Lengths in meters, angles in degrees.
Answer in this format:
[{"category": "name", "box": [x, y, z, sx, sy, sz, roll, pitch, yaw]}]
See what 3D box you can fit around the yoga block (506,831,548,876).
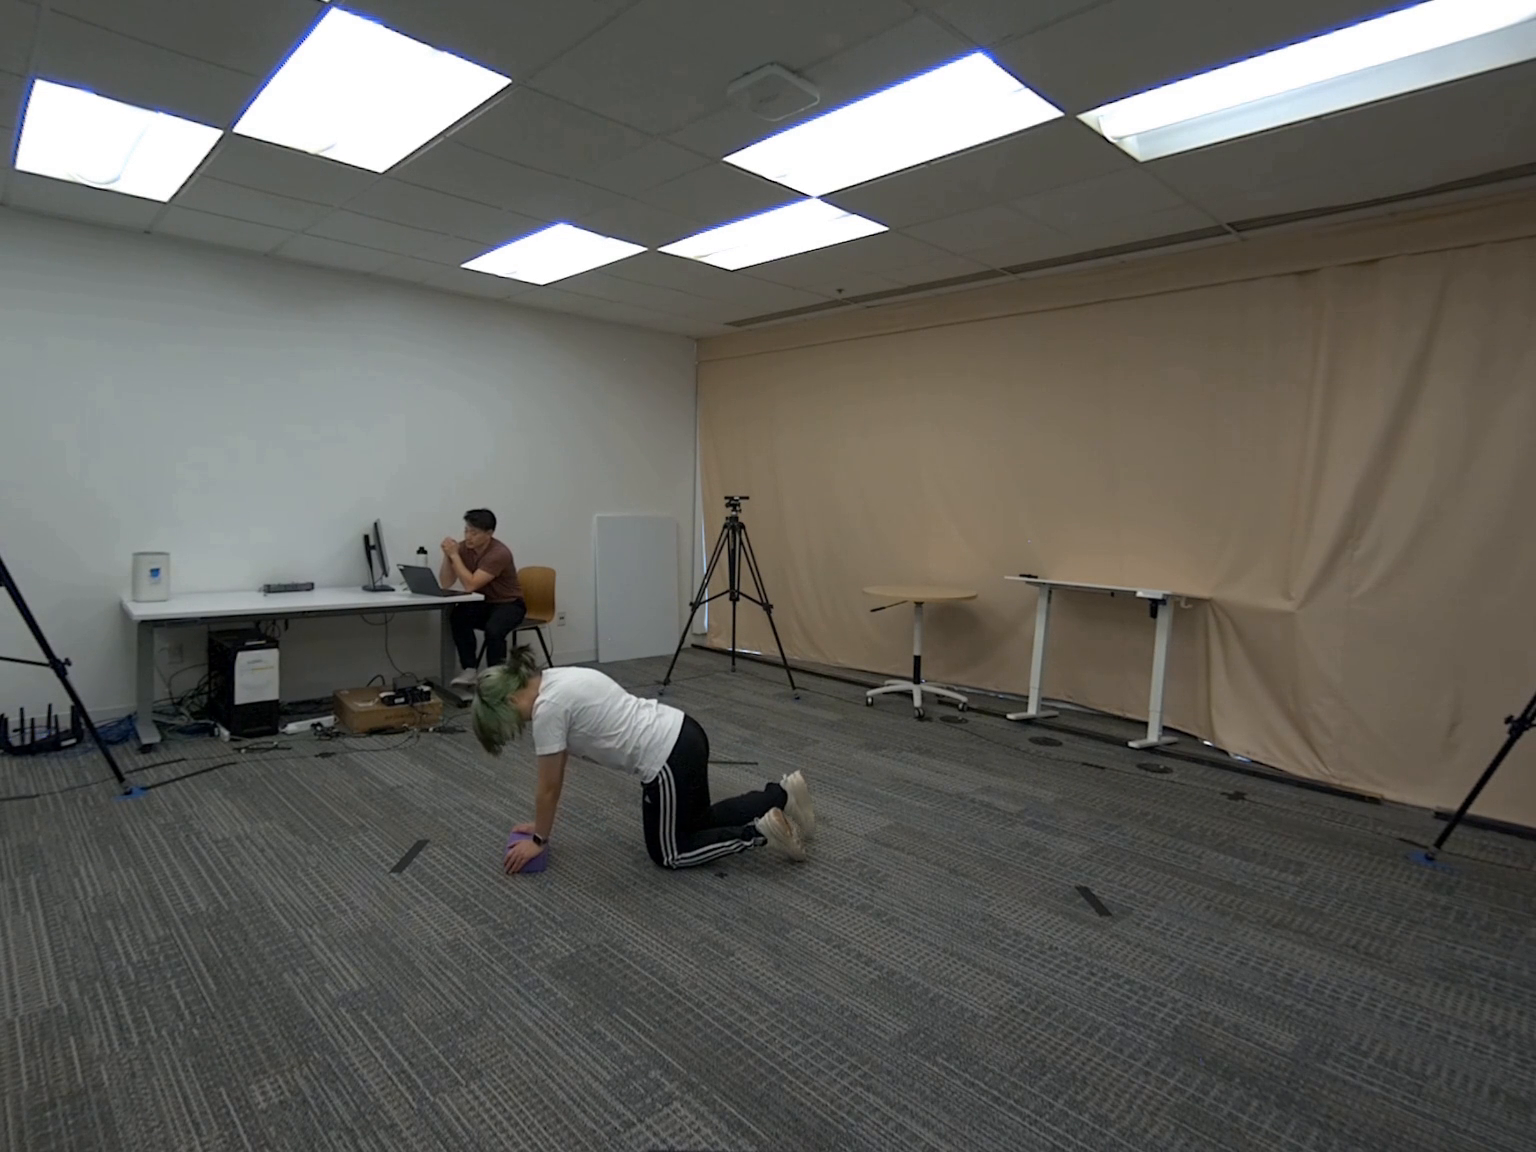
[{"category": "yoga block", "box": [-0.914, 1.039, 3.197, 0.148, 0.076, 0.232, 0, 6, -10]}]
